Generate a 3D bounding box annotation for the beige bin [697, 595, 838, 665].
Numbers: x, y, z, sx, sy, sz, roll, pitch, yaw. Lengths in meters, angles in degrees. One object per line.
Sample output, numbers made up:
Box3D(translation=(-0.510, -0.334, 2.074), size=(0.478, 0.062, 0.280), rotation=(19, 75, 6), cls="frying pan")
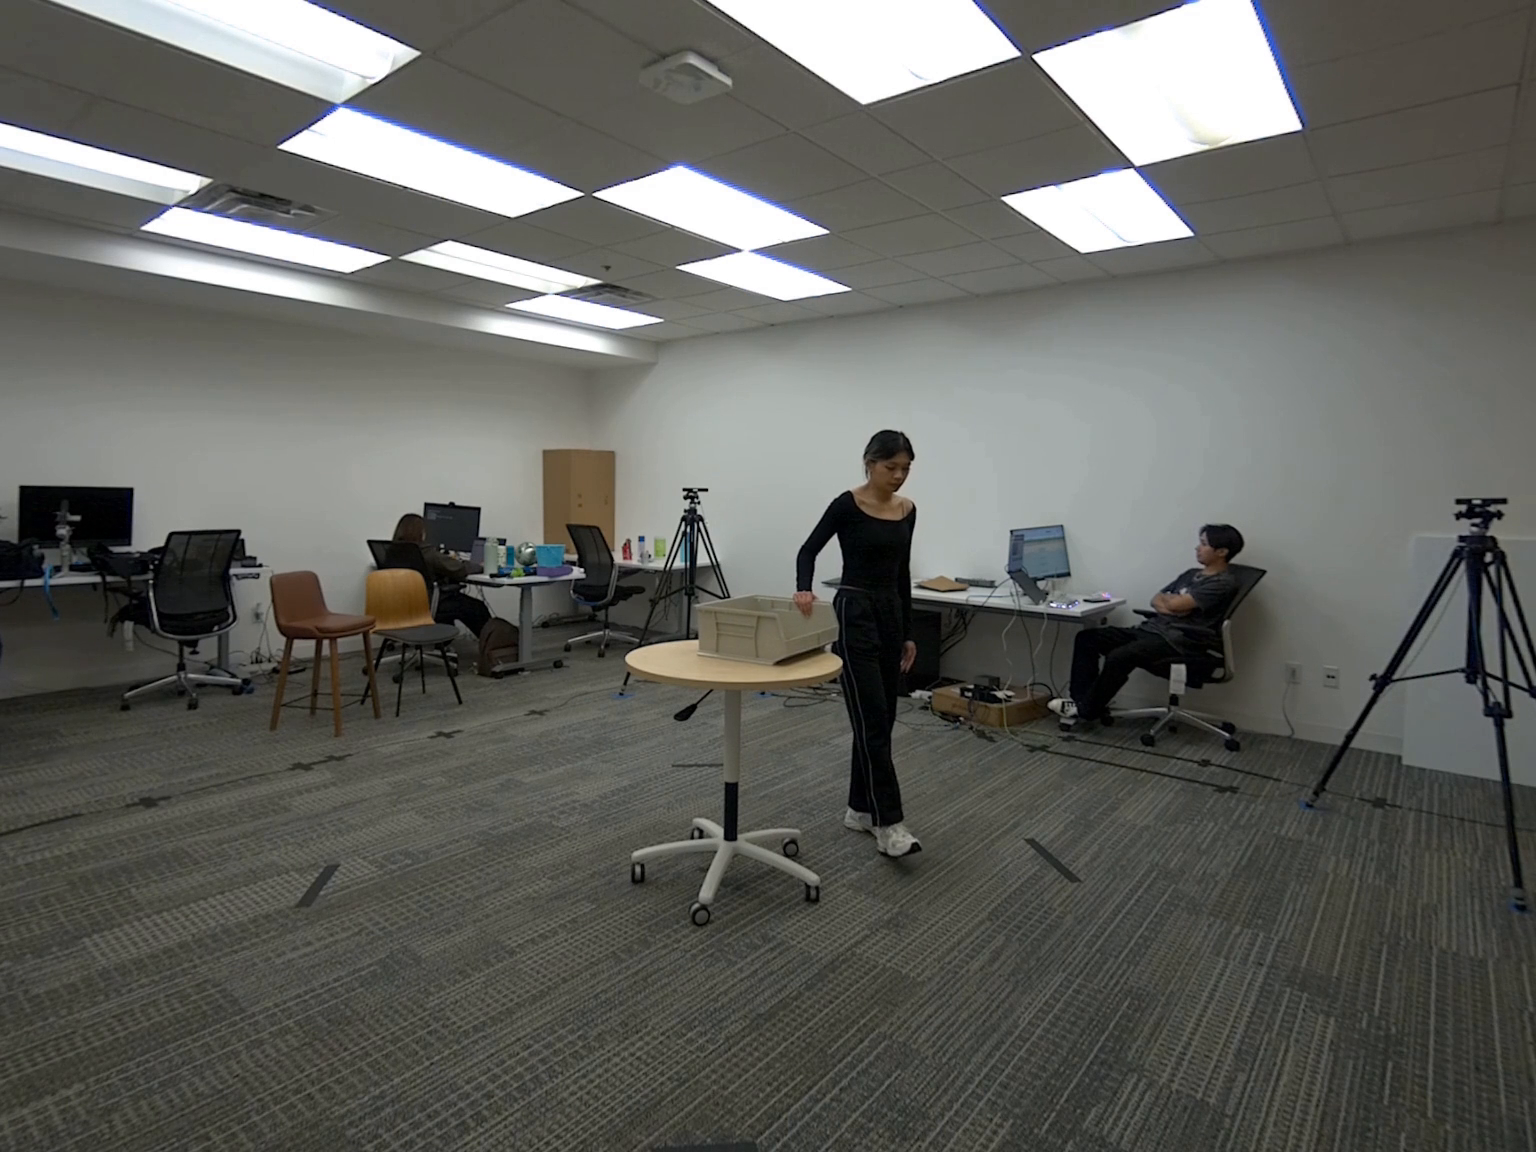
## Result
Box3D(translation=(-0.011, 0.186, 3.119), size=(0.388, 0.188, 0.412), rotation=(2, 6, 31), cls="beige bin")
